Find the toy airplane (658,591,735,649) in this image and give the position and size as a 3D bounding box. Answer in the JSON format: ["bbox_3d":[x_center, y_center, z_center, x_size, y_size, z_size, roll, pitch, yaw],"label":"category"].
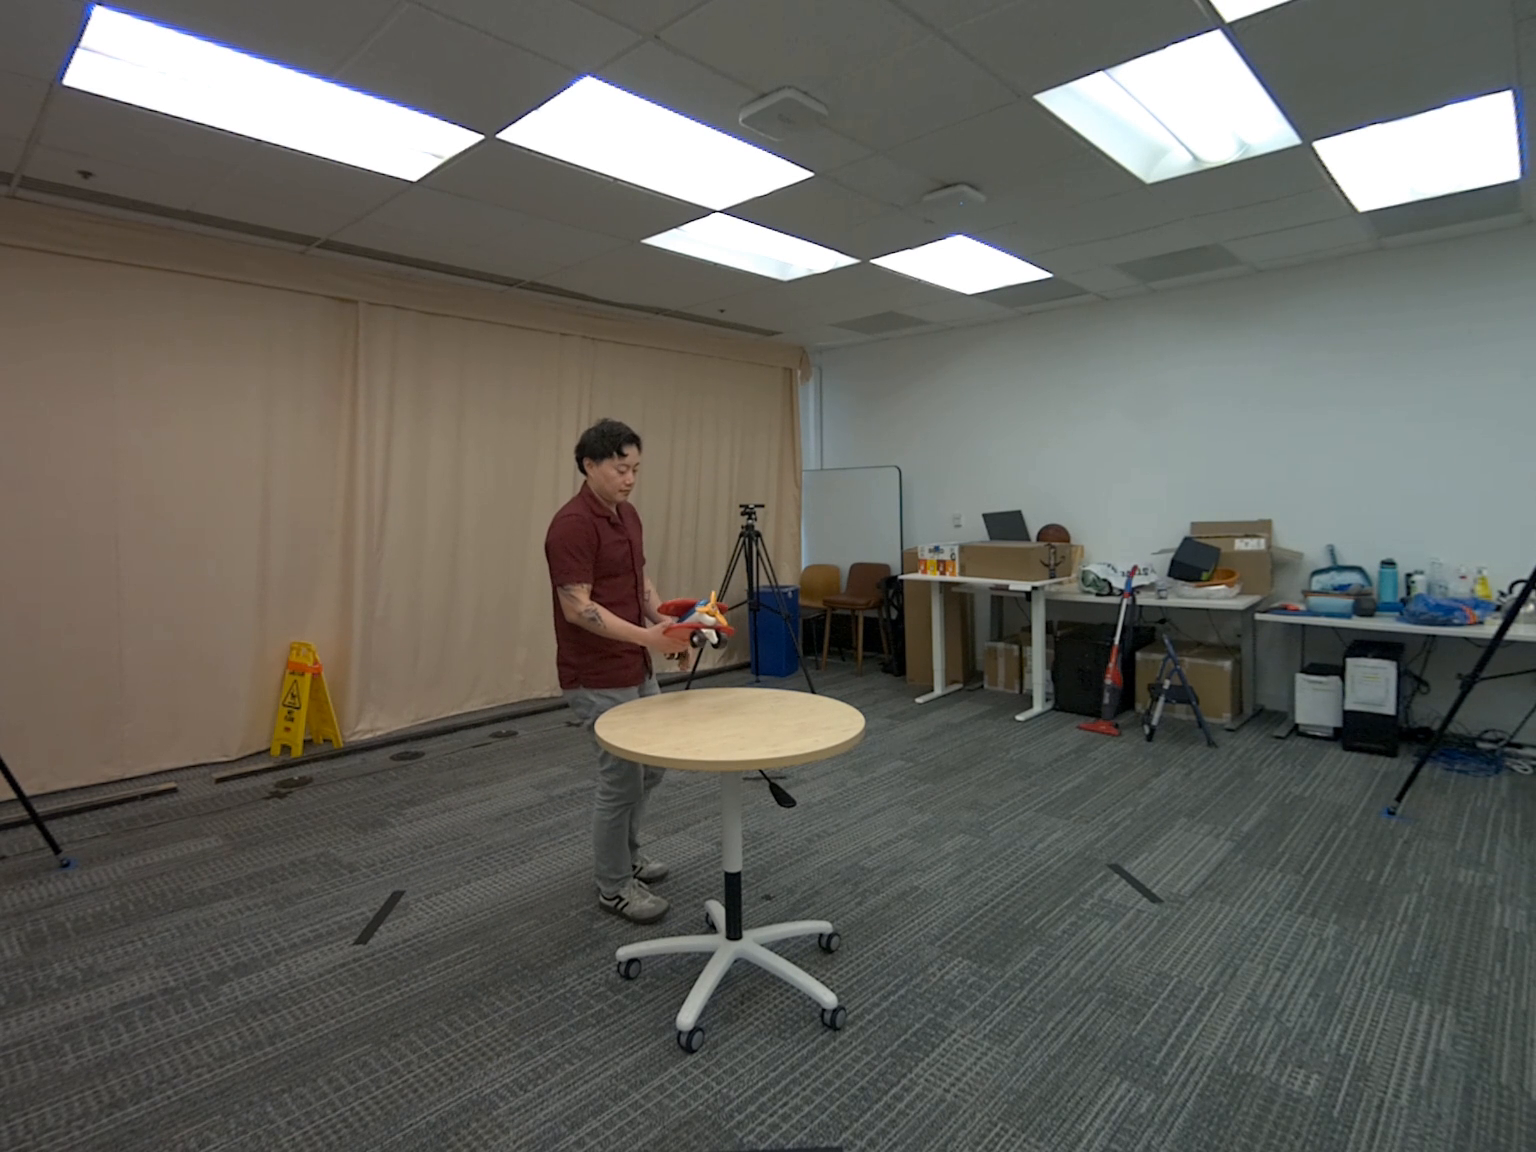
[{"bbox_3d":[-0.257,0.162,2.602,0.264,0.158,0.244,-12,-15,20],"label":"toy airplane"}]
